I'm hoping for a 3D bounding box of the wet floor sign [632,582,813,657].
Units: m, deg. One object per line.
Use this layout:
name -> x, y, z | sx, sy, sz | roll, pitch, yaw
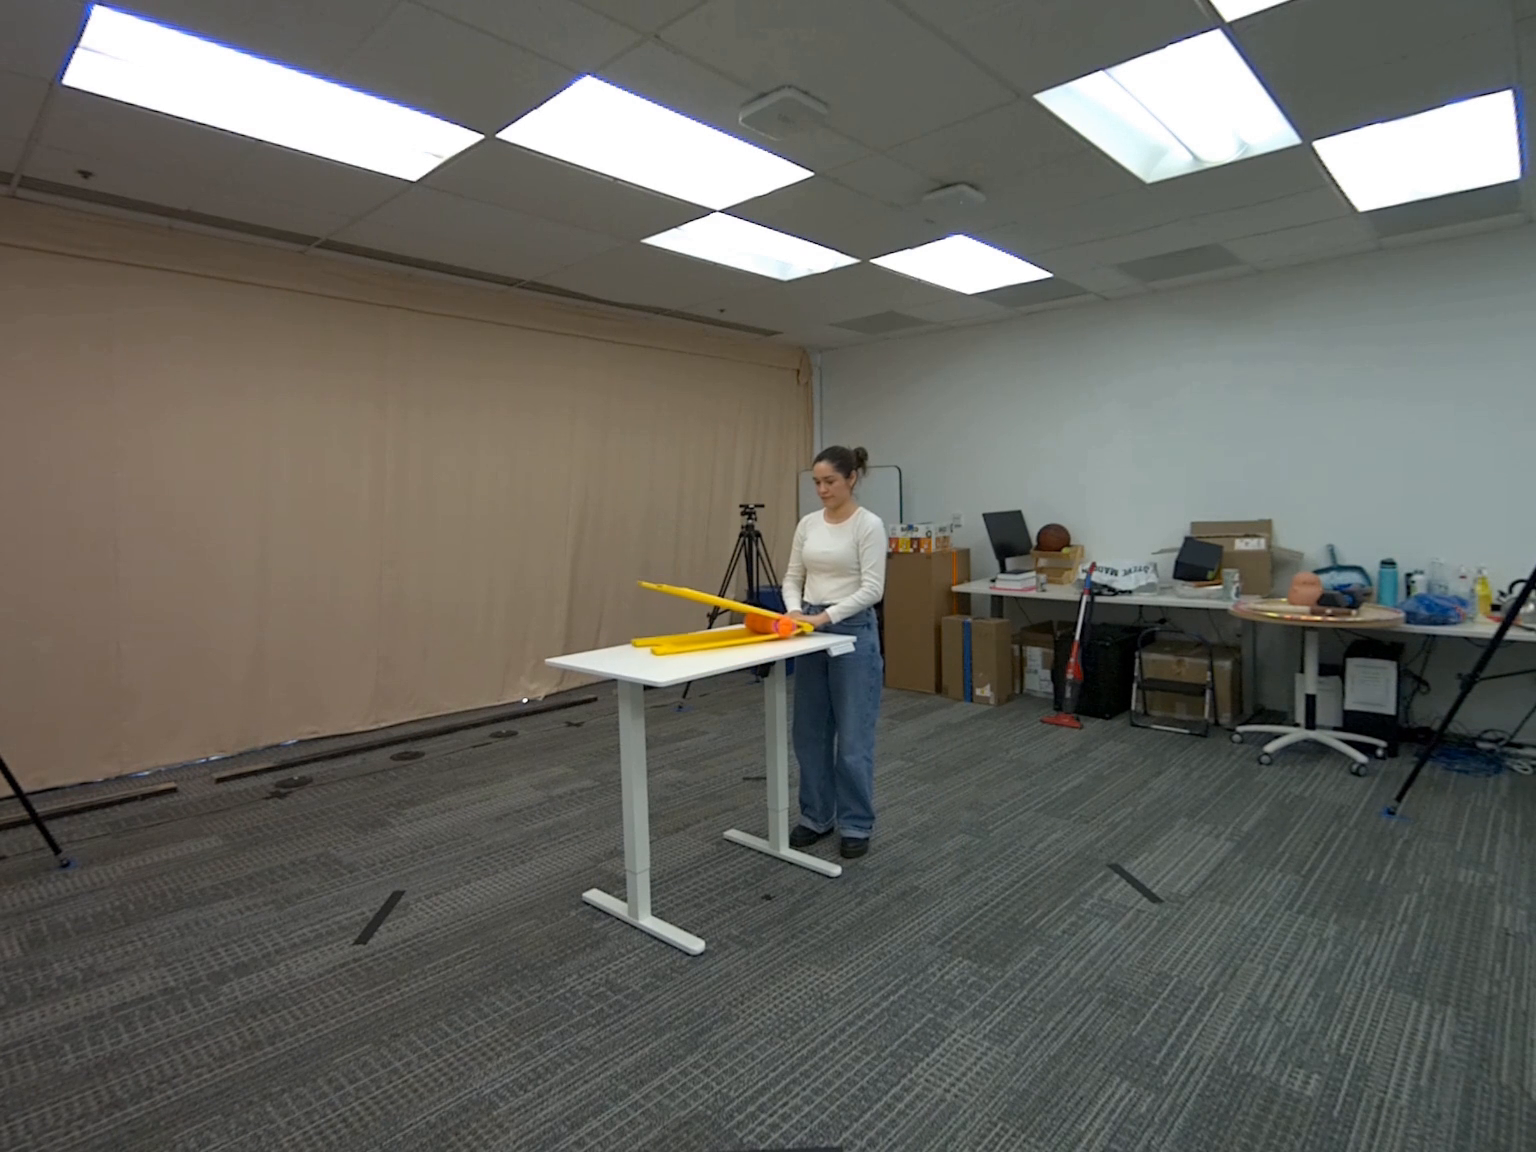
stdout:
wet floor sign -> -0.147, 0.180, 3.141 | 0.629, 0.290, 0.290 | 5, 0, -26
